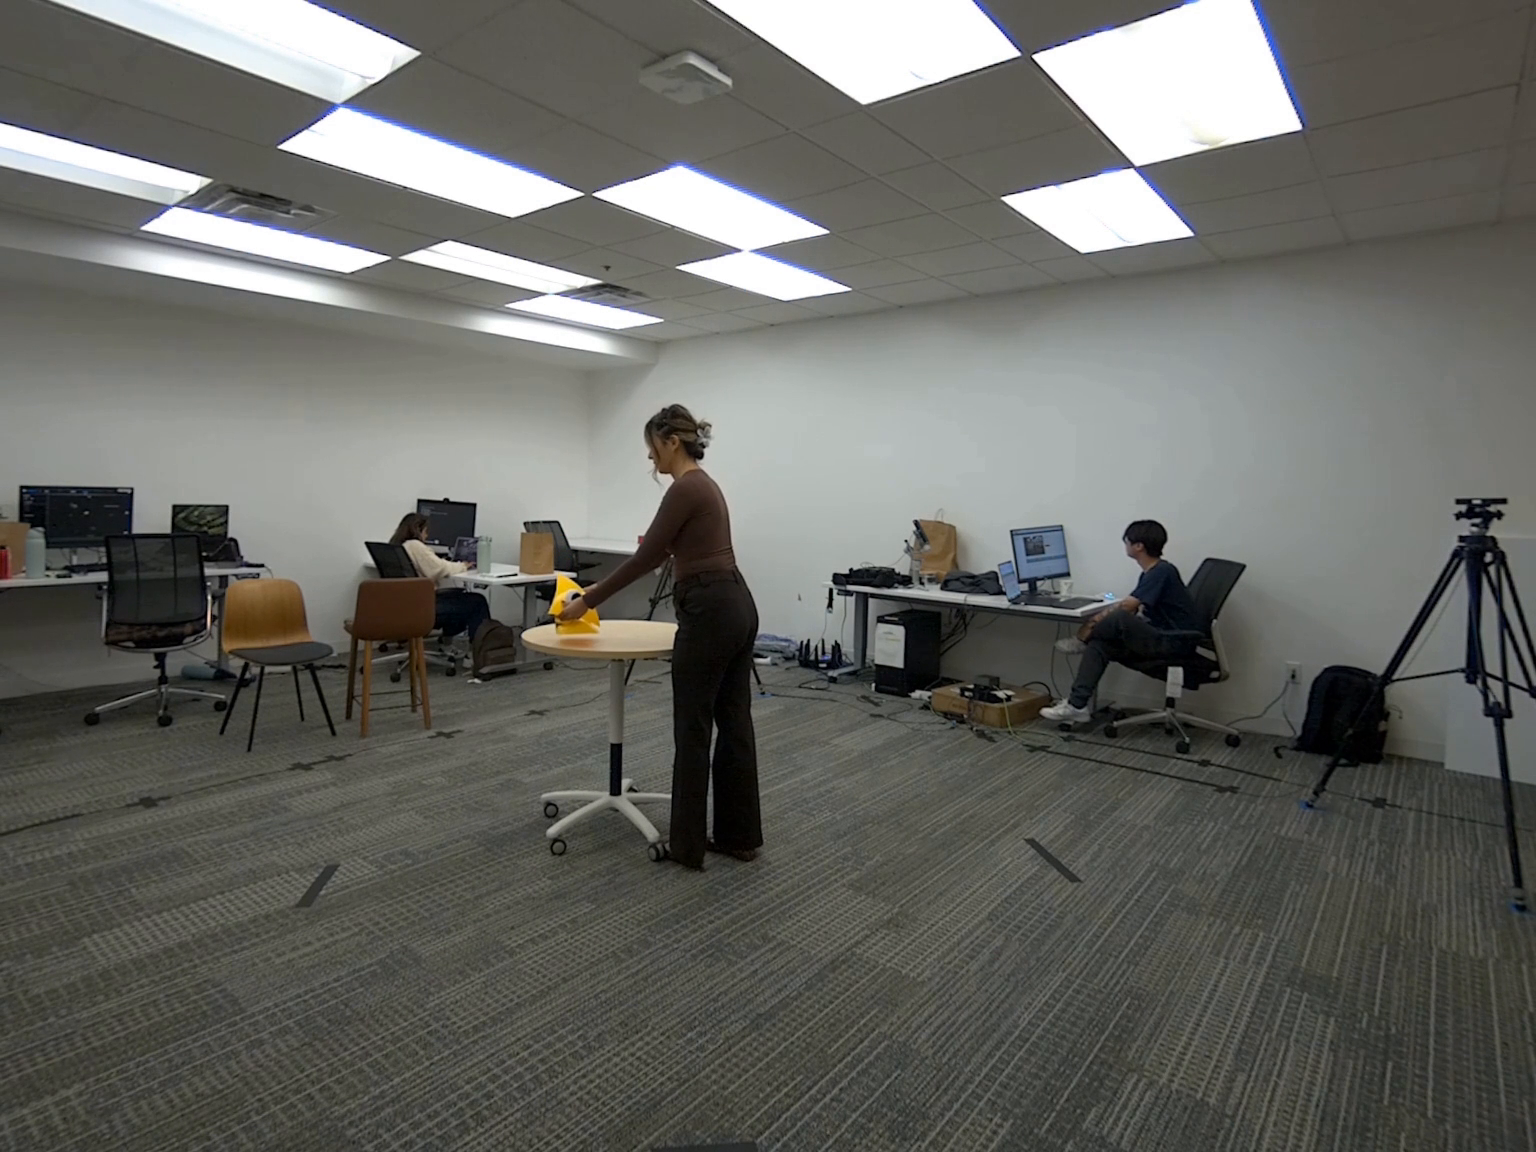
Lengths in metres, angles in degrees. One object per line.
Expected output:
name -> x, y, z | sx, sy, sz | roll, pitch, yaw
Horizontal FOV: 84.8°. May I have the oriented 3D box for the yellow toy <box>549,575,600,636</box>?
yellow toy -> -0.754, 0.099, 3.252 | 0.191, 0.232, 0.205 | -2, -3, -8
